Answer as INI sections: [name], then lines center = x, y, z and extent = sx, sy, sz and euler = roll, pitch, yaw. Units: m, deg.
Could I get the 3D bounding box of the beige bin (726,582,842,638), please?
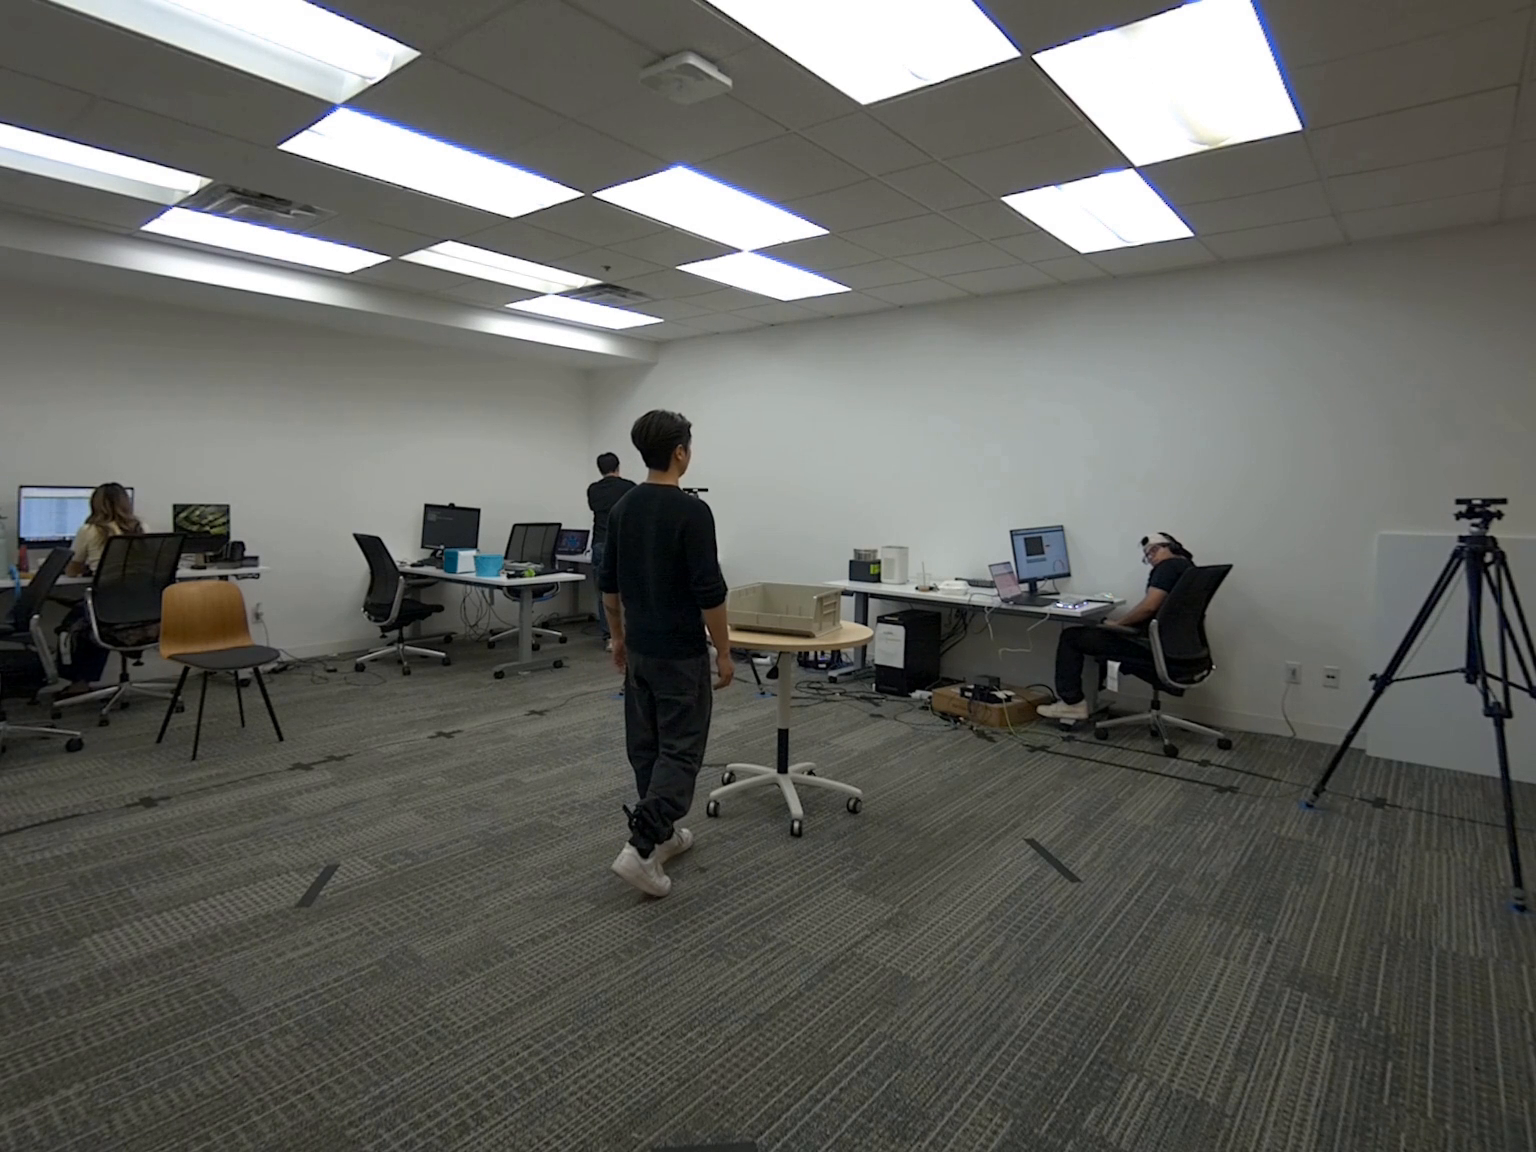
[beige bin]
center = 0.070, 0.144, 3.742
extent = 0.434, 0.188, 0.369
euler = 3, 5, 26
